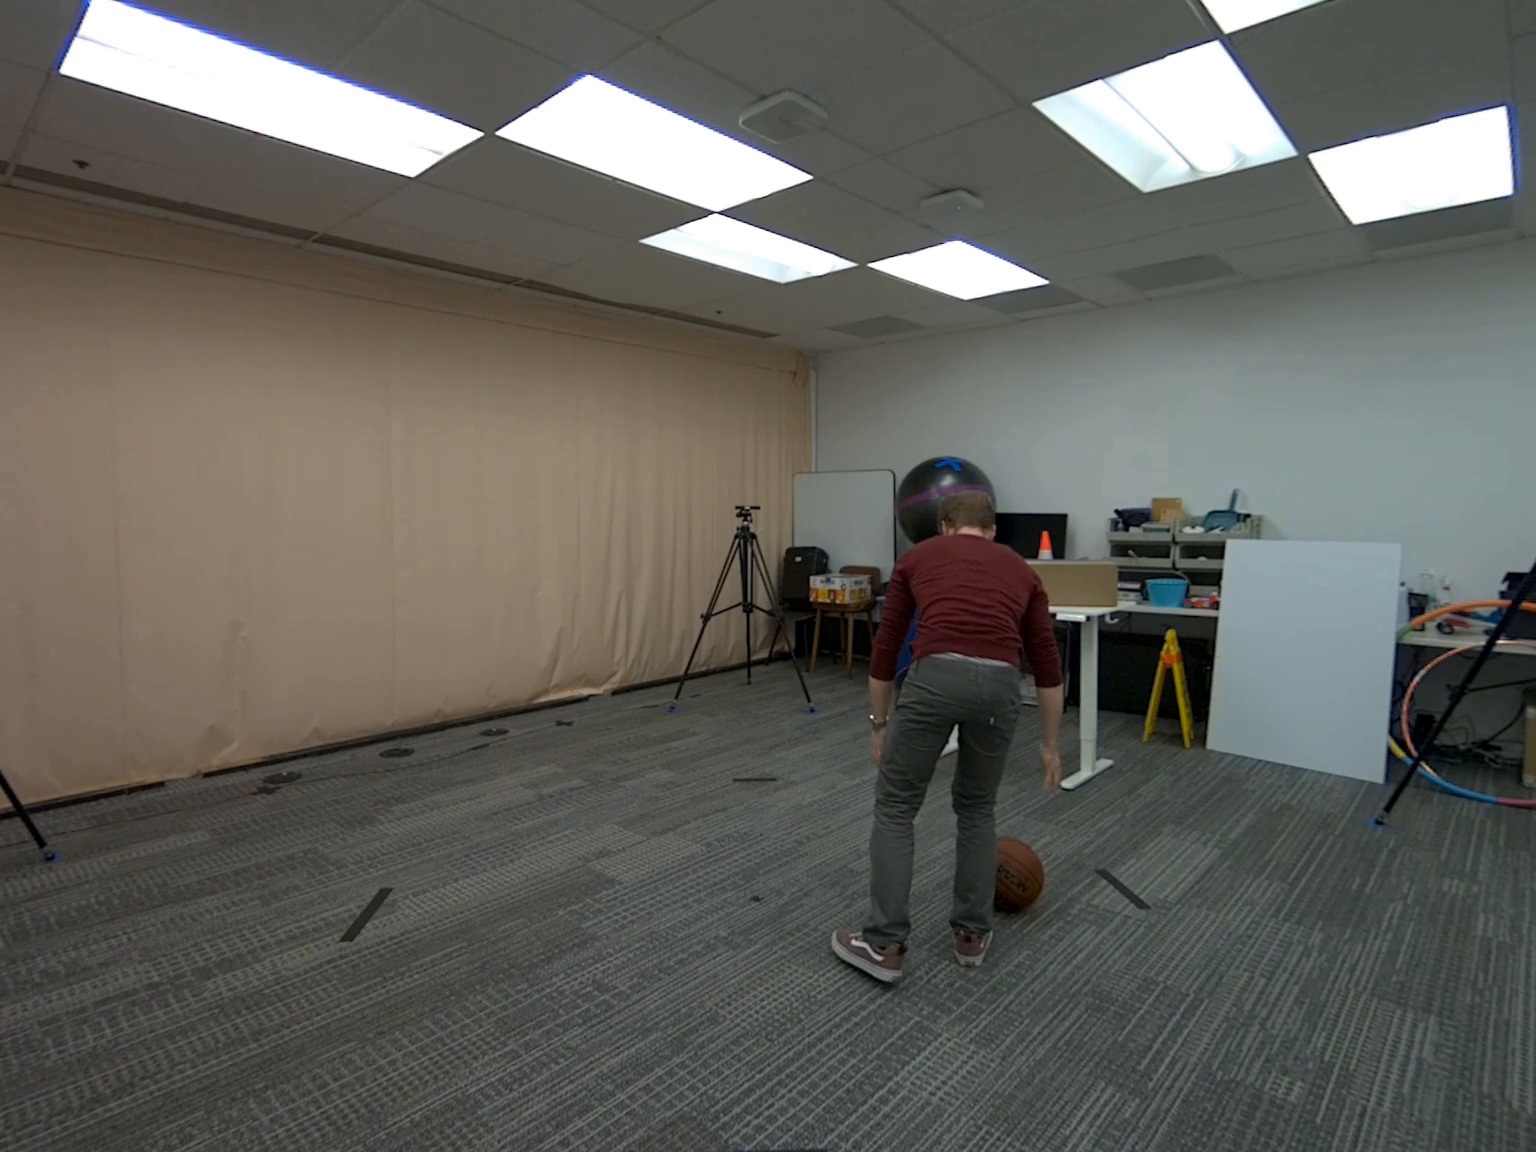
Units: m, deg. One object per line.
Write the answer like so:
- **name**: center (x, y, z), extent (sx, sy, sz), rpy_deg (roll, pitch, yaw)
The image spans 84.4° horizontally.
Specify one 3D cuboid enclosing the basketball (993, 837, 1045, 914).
- **basketball**: center (0.839, 1.028, 2.918), extent (0.236, 0.235, 0.237), rpy_deg (0, 4, -2)
